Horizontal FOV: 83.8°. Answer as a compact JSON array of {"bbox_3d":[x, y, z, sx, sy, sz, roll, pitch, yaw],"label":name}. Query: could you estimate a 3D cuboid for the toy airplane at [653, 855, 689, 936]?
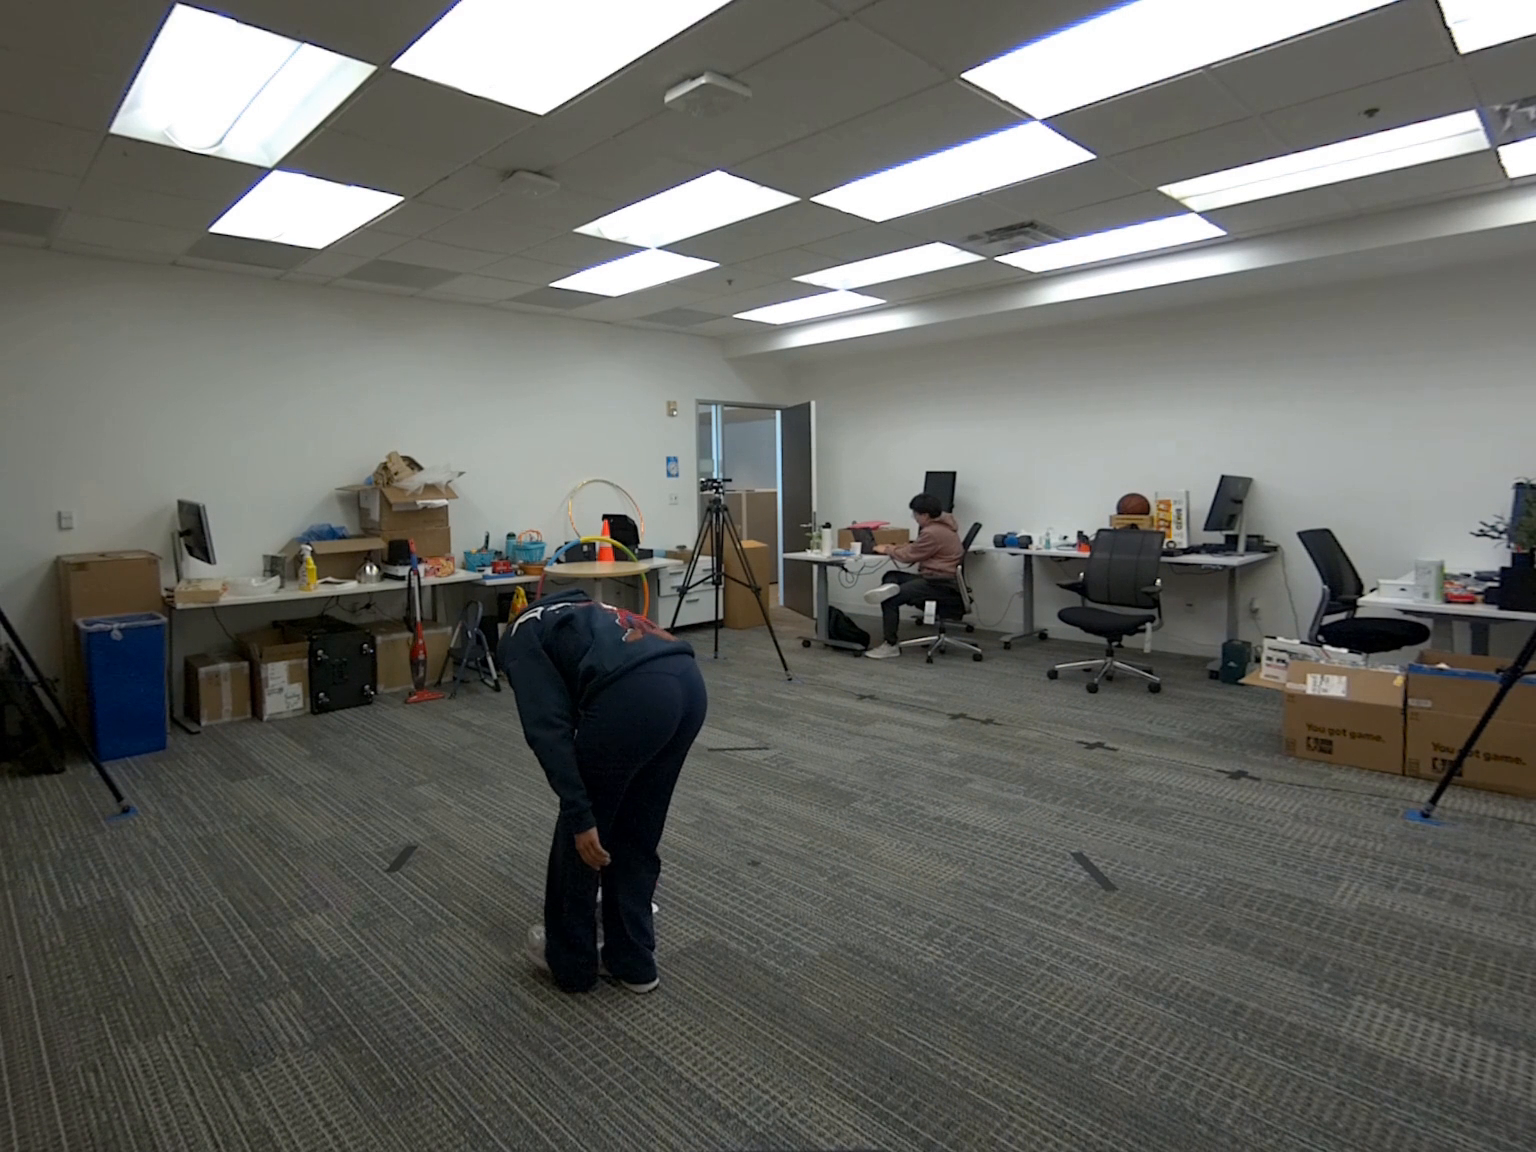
[{"bbox_3d":[-0.436,1.020,2.757,0.266,0.156,0.246,1,6,30],"label":"toy airplane"}]
